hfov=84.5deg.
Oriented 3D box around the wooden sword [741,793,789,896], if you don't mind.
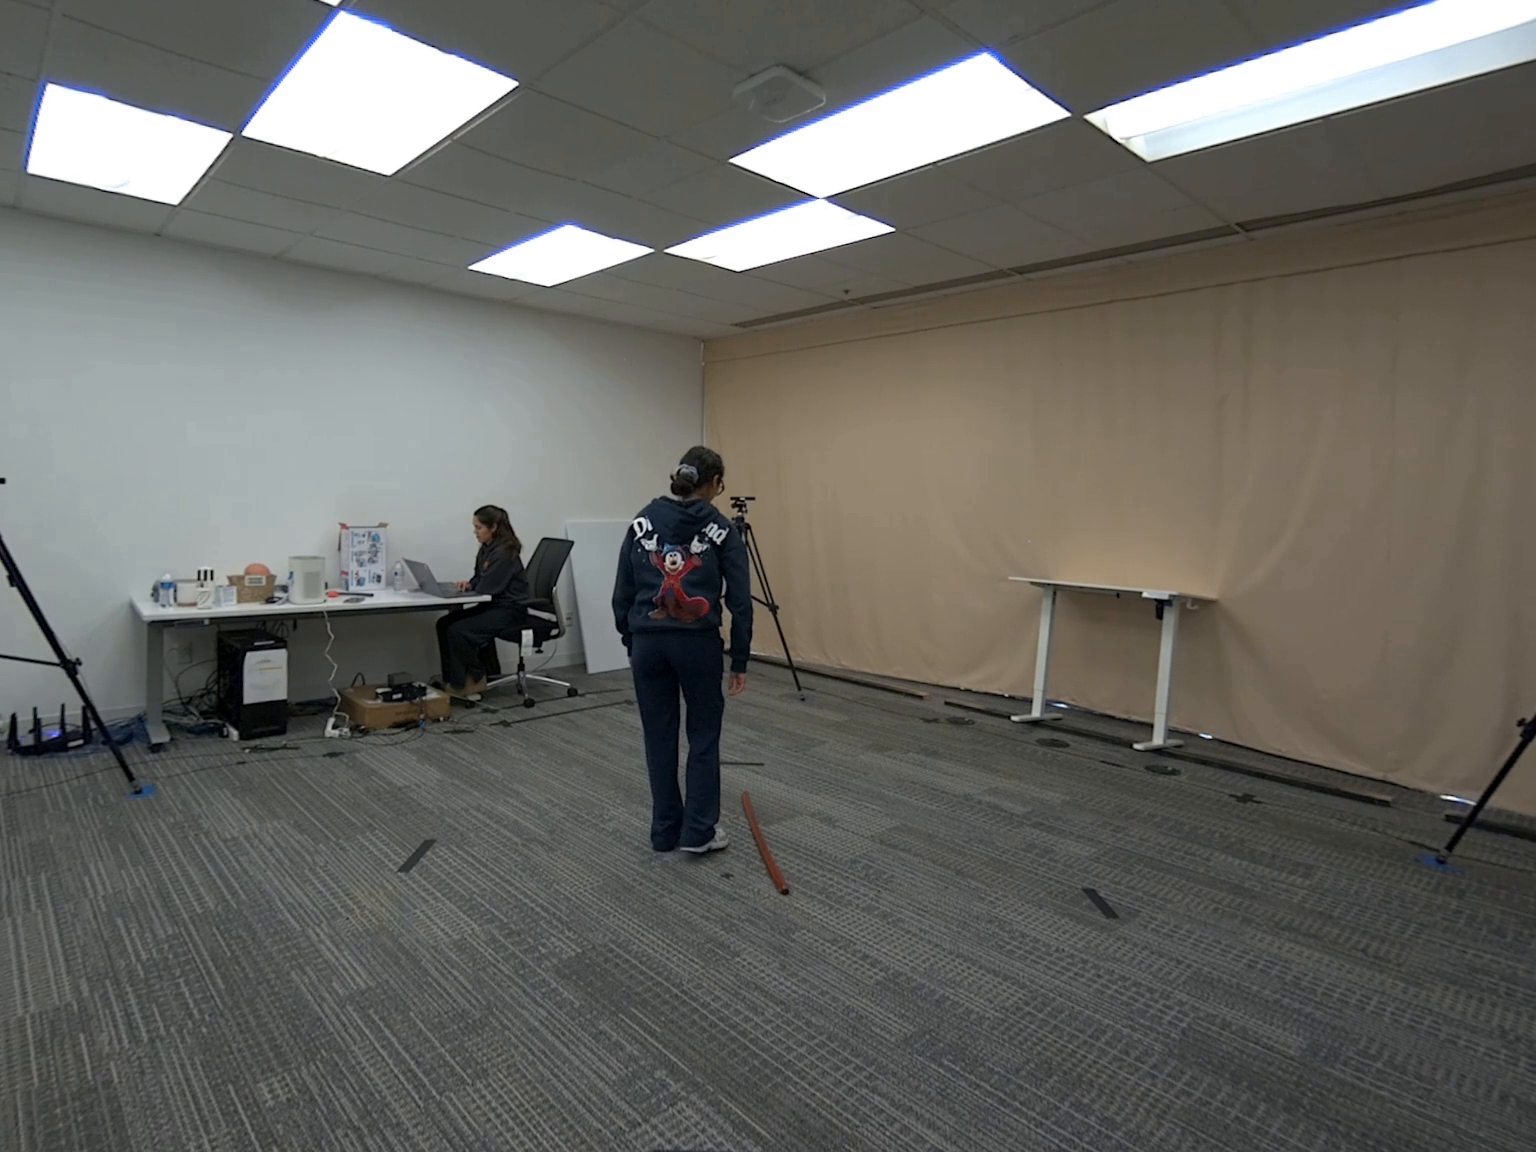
[{"bbox_3d":[-0.044,1.059,3.469,0.051,0.024,1.035,-5,6,-9],"label":"wooden sword"}]
